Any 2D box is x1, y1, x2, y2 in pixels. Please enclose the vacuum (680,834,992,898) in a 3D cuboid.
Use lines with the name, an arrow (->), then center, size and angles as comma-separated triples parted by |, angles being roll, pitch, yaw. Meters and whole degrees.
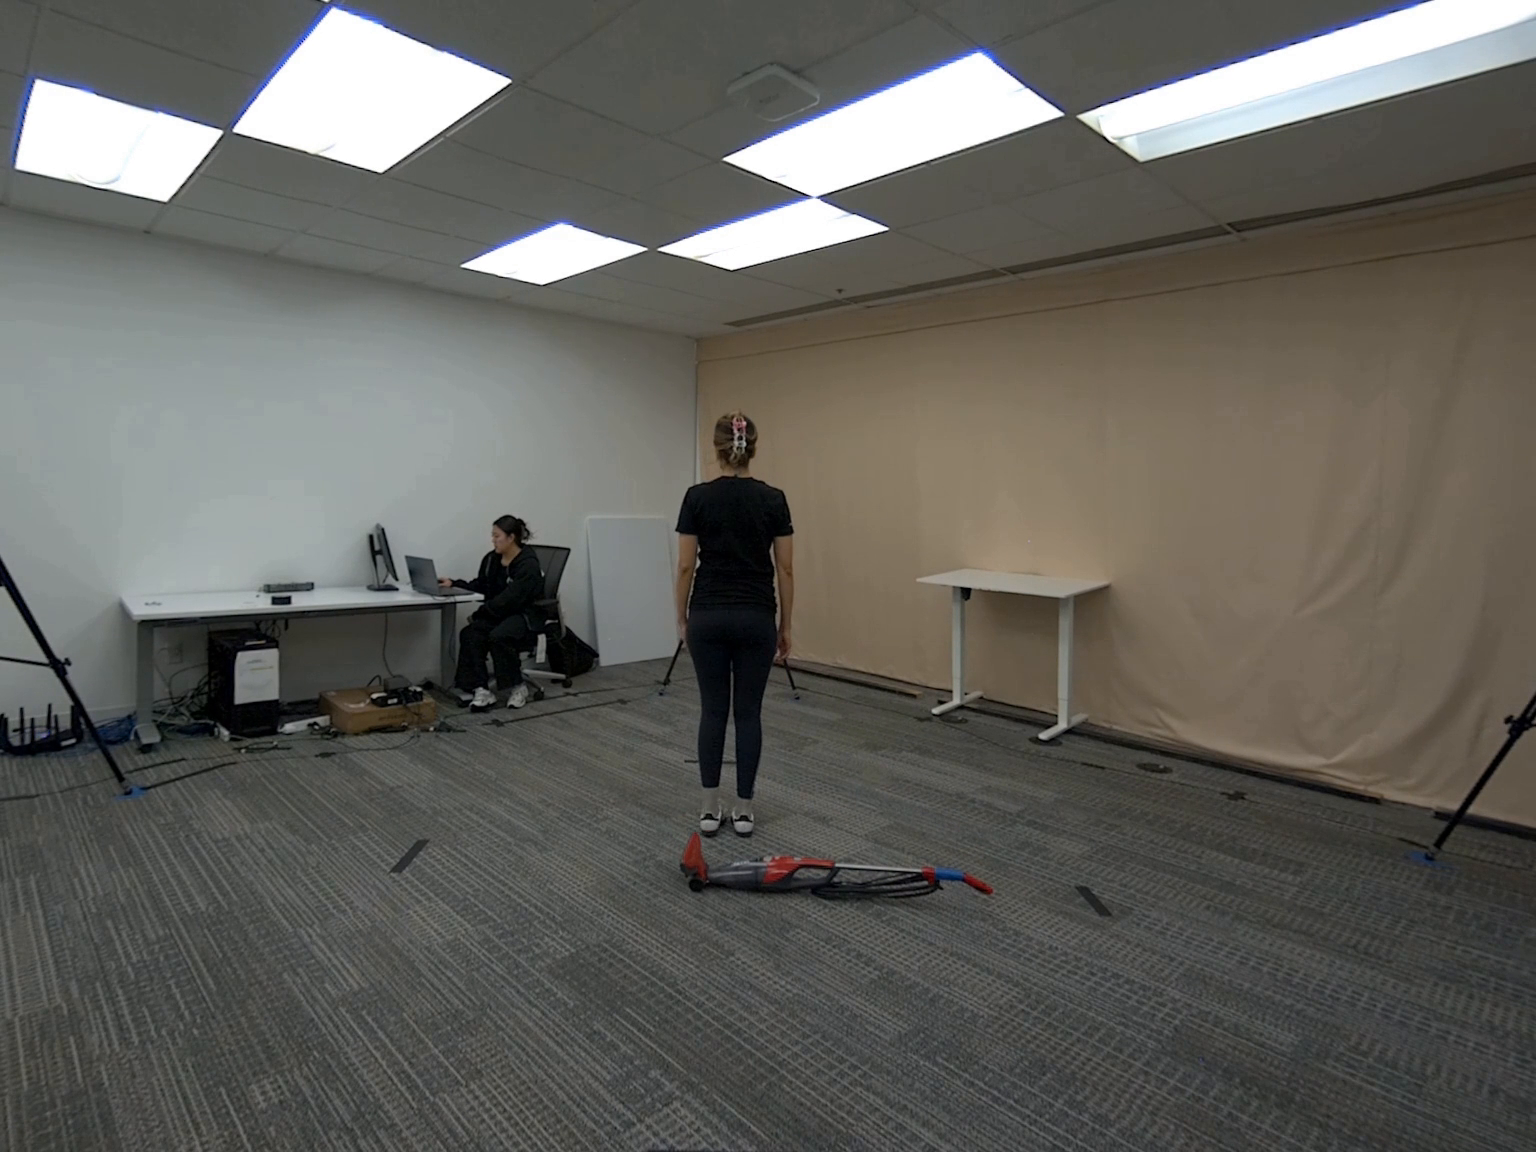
vacuum -> 0.235, 1.064, 2.959 | 1.055, 0.143, 0.252 | 3, 7, 6
